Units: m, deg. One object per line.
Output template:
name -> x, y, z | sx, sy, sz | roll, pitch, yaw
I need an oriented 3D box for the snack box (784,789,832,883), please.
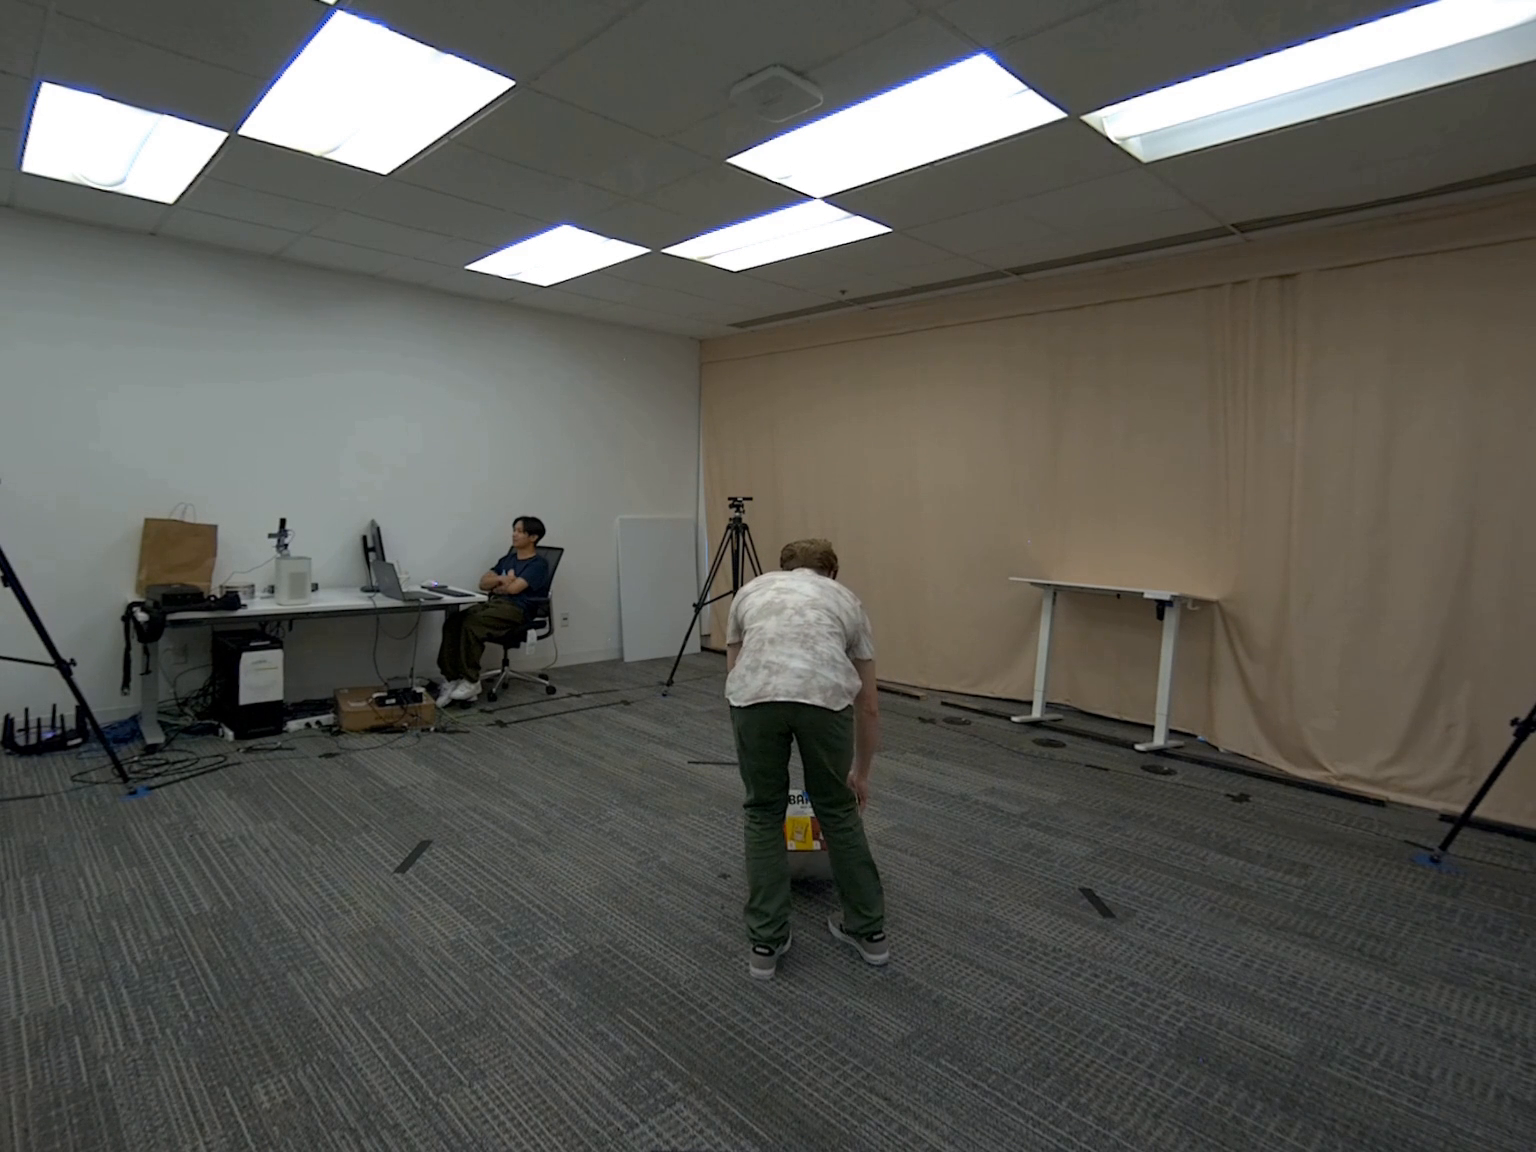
snack box -> 0.117, 0.927, 2.974 | 0.339, 0.210, 0.398 | 2, -34, -6
